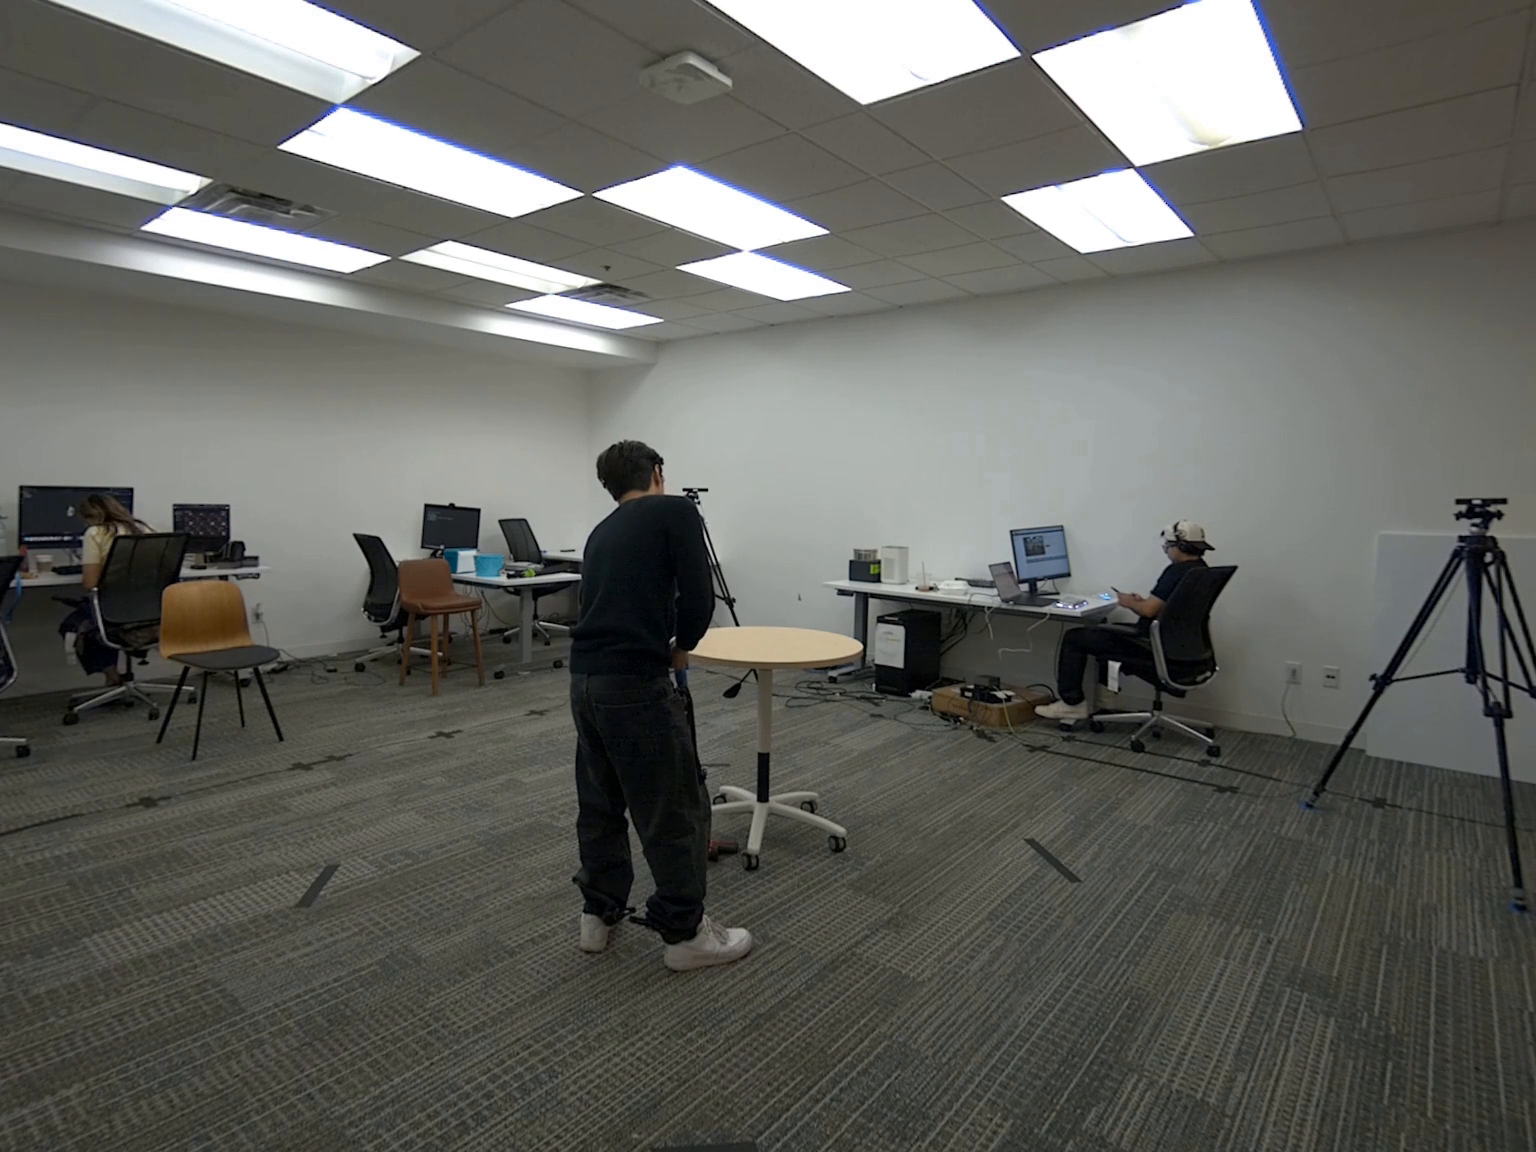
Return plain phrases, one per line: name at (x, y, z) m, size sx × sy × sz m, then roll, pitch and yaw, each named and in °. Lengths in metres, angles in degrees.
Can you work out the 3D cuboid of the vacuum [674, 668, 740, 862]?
vacuum at (-0.281, 0.627, 2.921) m, size 0.257 × 1.018 × 0.146 m, roll 7°, pitch 39°, yaw 13°
